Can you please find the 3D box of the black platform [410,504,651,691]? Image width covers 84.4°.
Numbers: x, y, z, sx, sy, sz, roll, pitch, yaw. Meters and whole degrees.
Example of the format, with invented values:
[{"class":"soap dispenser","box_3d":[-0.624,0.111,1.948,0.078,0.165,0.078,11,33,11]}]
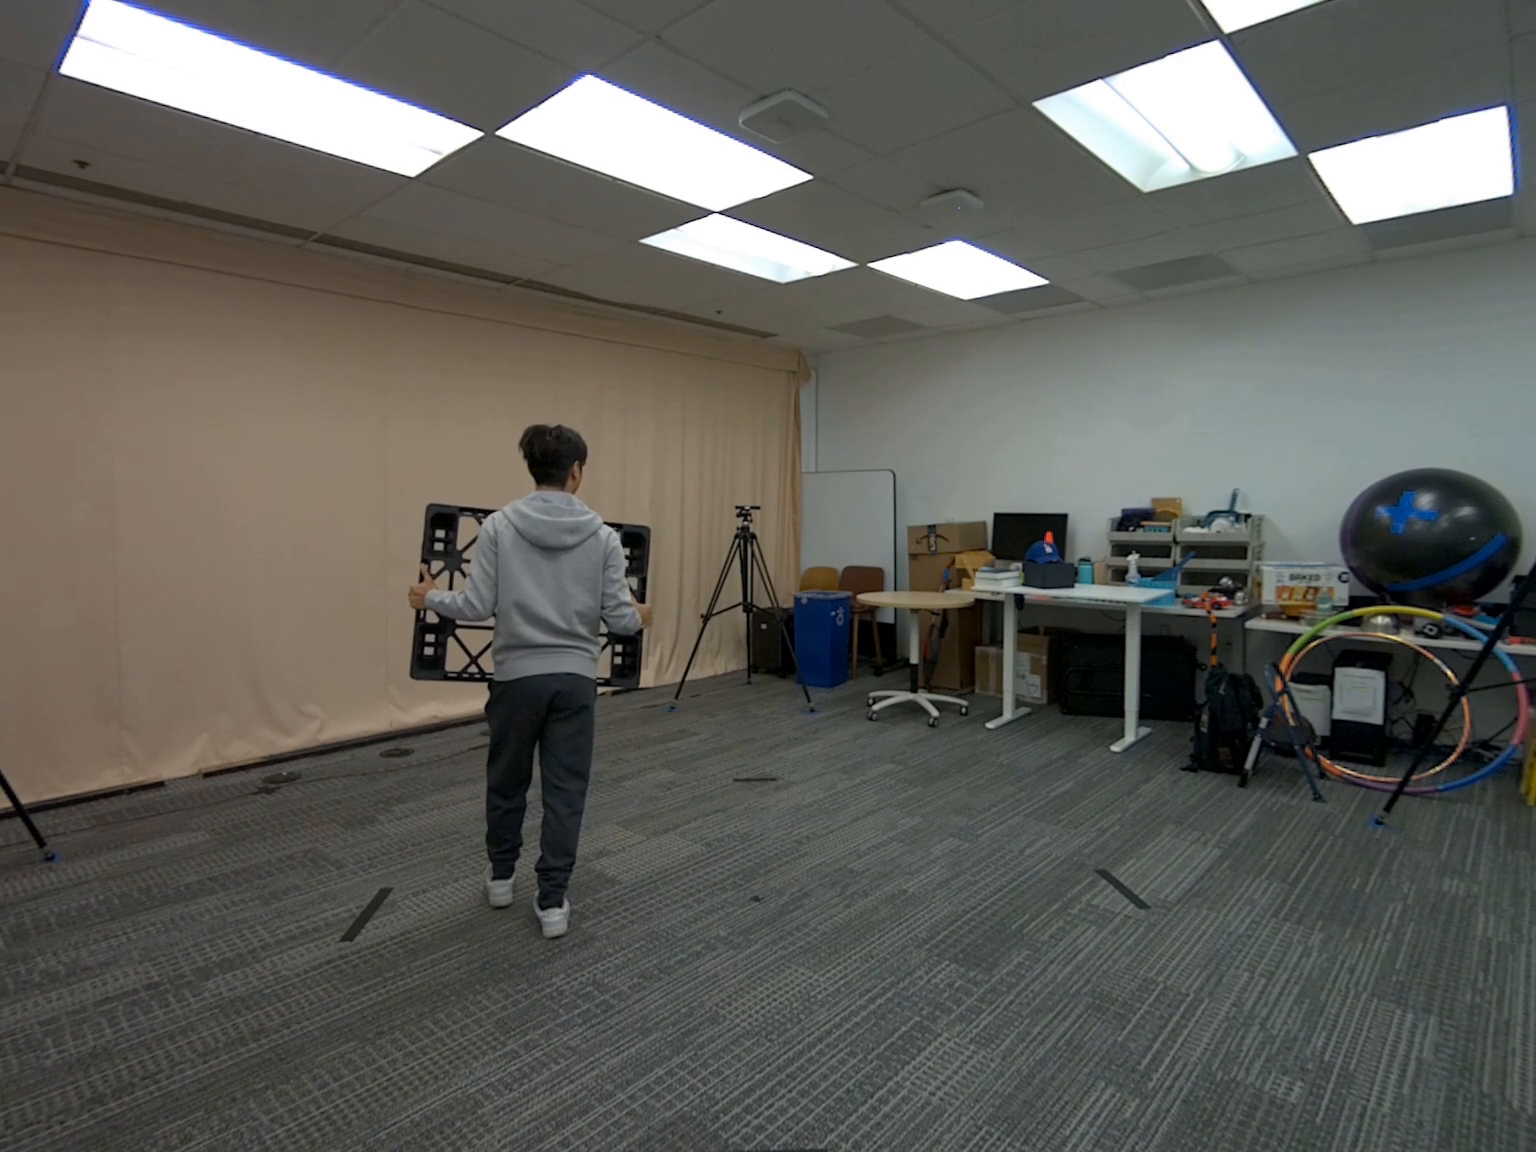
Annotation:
[{"class":"black platform","box_3d":[-0.841,0.090,3.032,0.788,0.606,0.146,6,-5,-21]}]
